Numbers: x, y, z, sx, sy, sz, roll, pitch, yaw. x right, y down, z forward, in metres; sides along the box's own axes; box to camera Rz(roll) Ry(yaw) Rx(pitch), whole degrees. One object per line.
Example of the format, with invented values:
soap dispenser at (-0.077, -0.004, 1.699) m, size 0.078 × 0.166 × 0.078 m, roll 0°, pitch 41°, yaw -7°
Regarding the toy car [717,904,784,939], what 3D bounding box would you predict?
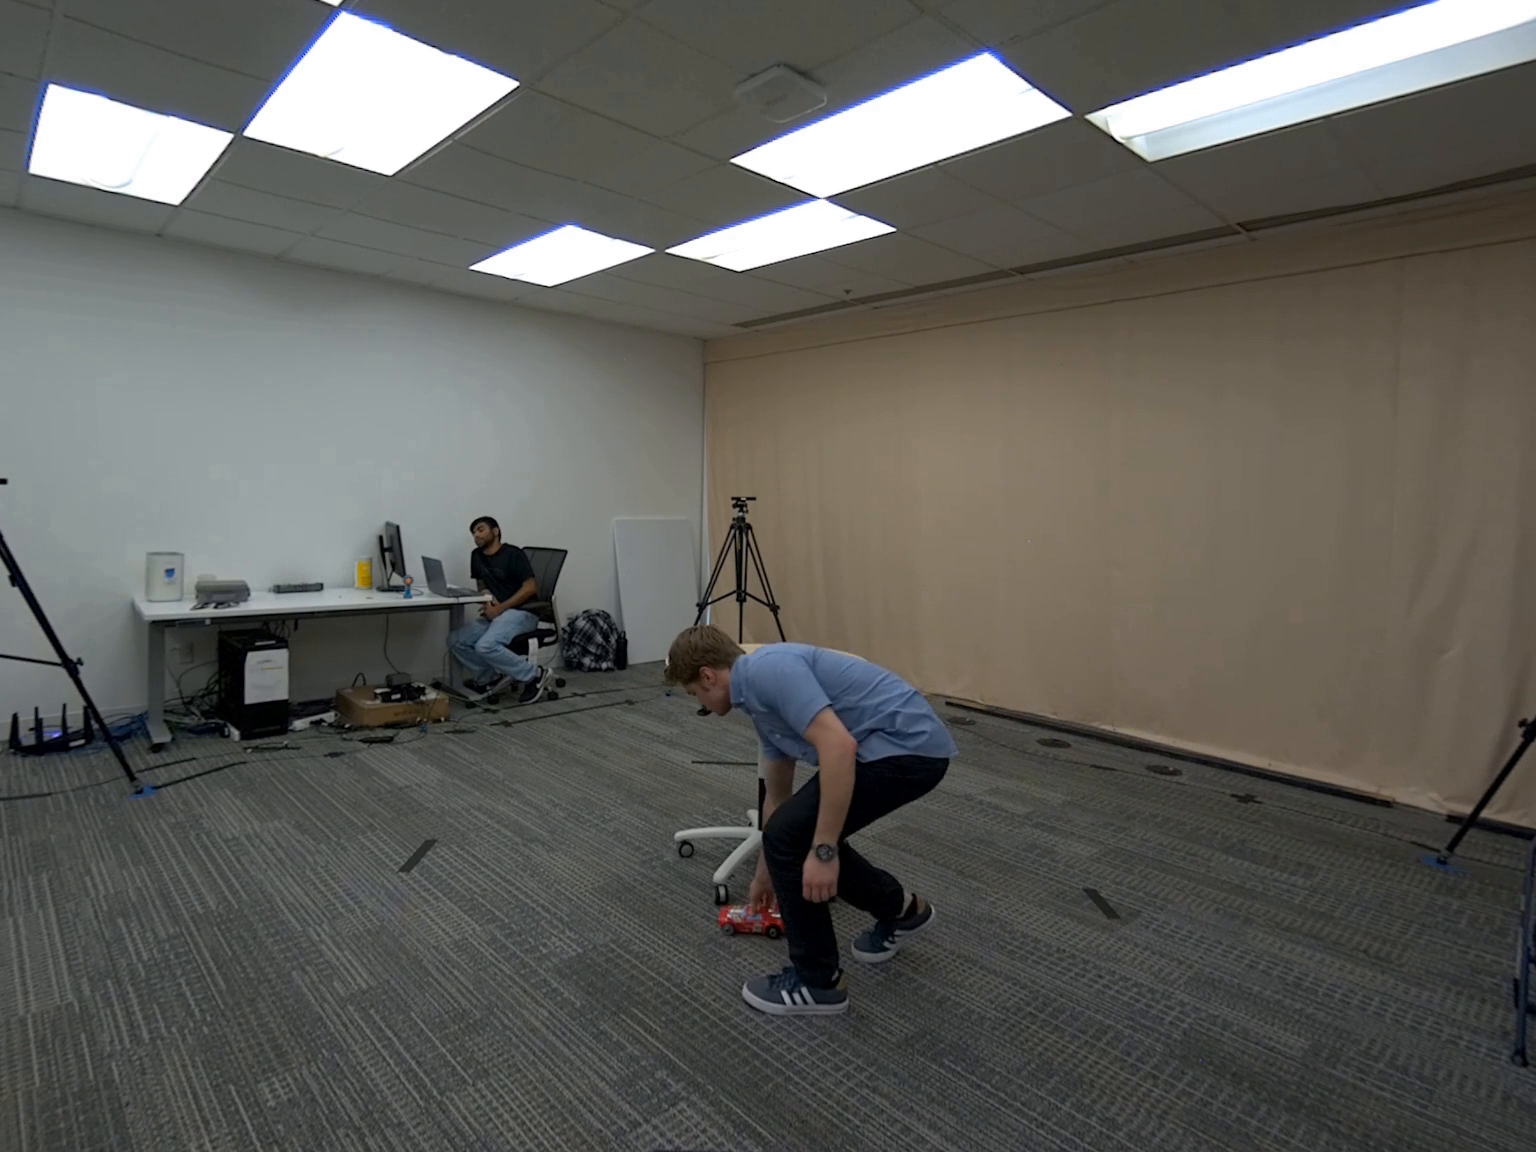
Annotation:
toy car at (-0.032, 1.117, 2.718) m, size 0.255 × 0.083 × 0.130 m, roll -9°, pitch 4°, yaw 4°
